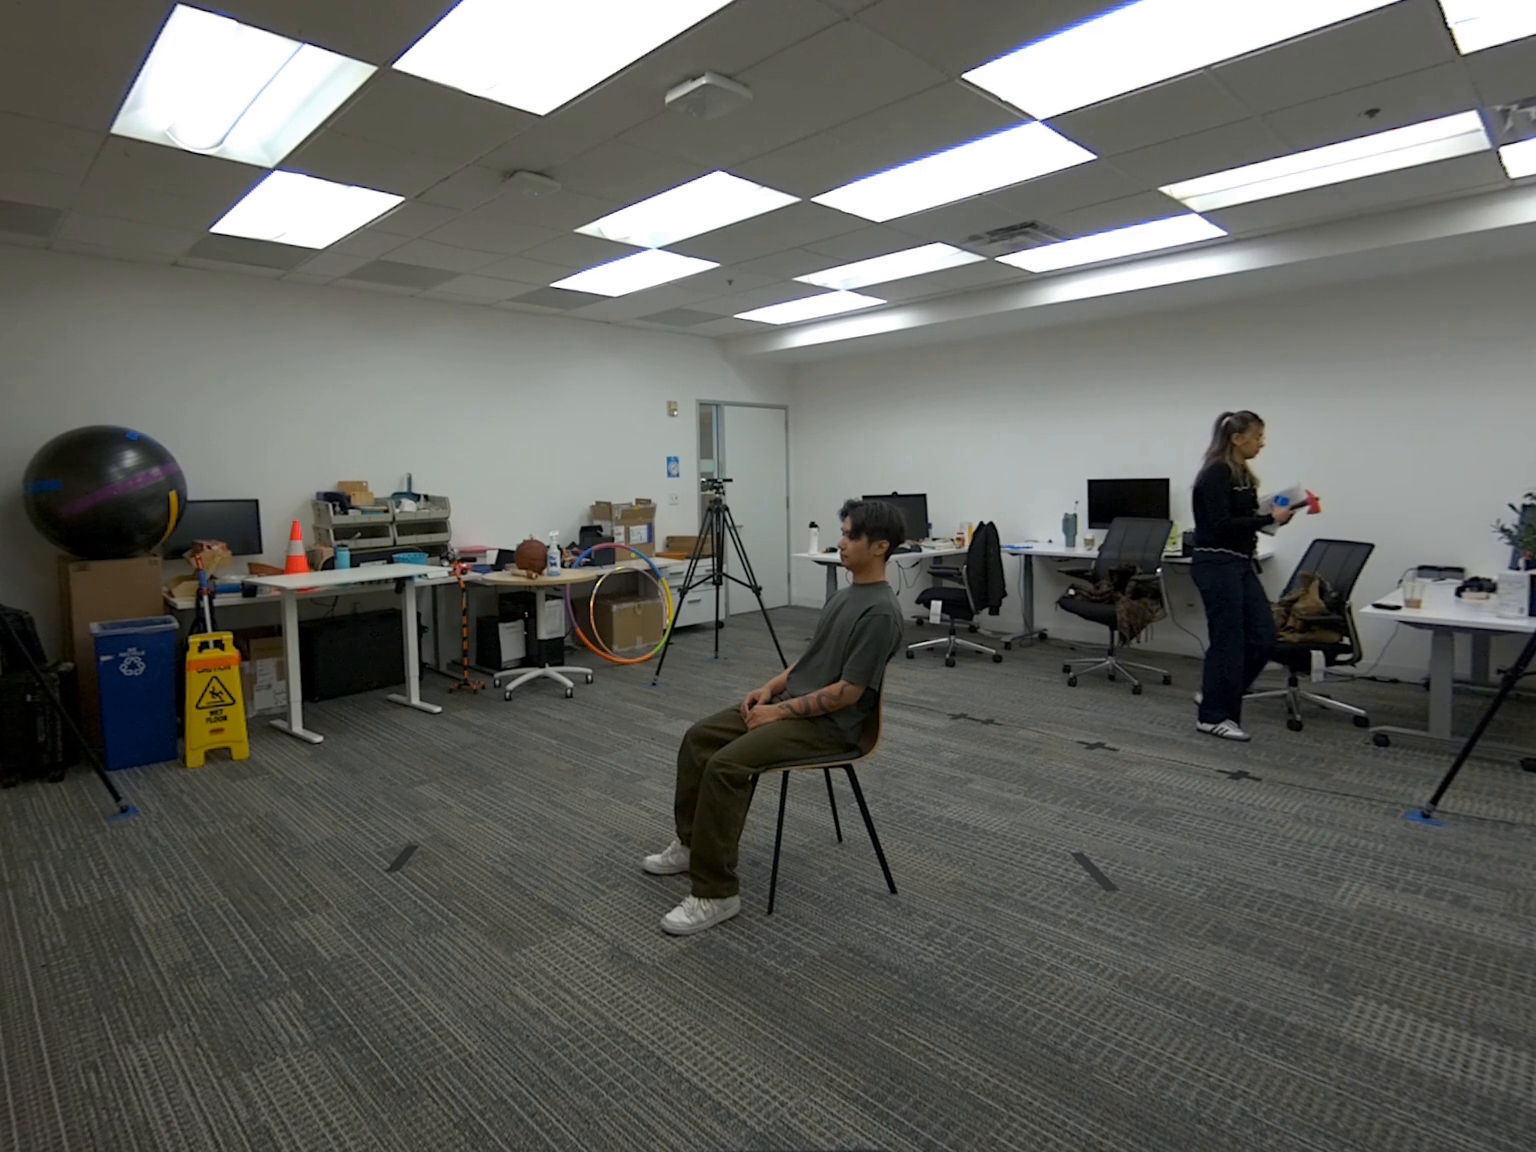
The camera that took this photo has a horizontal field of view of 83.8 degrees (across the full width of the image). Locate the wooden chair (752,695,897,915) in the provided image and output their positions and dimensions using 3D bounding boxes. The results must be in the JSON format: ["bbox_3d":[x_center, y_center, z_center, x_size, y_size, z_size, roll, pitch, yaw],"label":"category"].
[{"bbox_3d":[0.135,0.622,2.980,0.514,0.875,0.488,2,4,-18],"label":"wooden chair"}]
